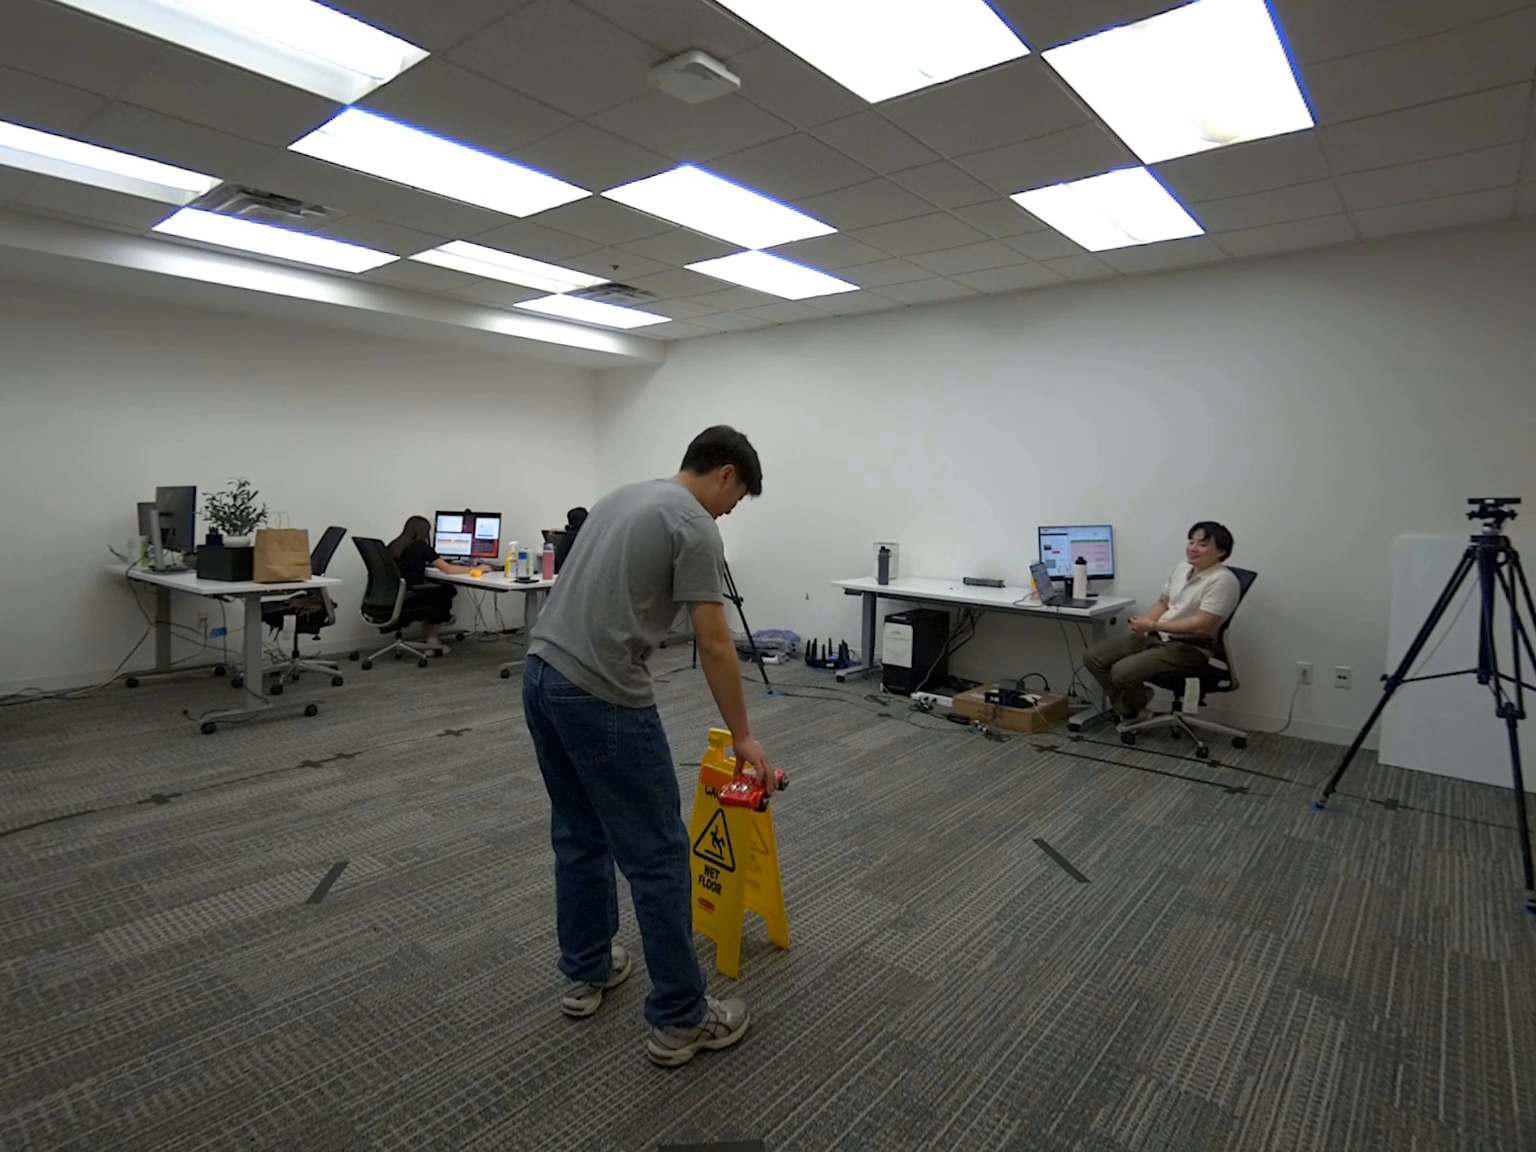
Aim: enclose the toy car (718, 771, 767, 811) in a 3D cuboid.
[{"bbox_3d":[-0.051,0.549,2.168,0.133,0.083,0.248,1,-2,23],"label":"toy car"}]
